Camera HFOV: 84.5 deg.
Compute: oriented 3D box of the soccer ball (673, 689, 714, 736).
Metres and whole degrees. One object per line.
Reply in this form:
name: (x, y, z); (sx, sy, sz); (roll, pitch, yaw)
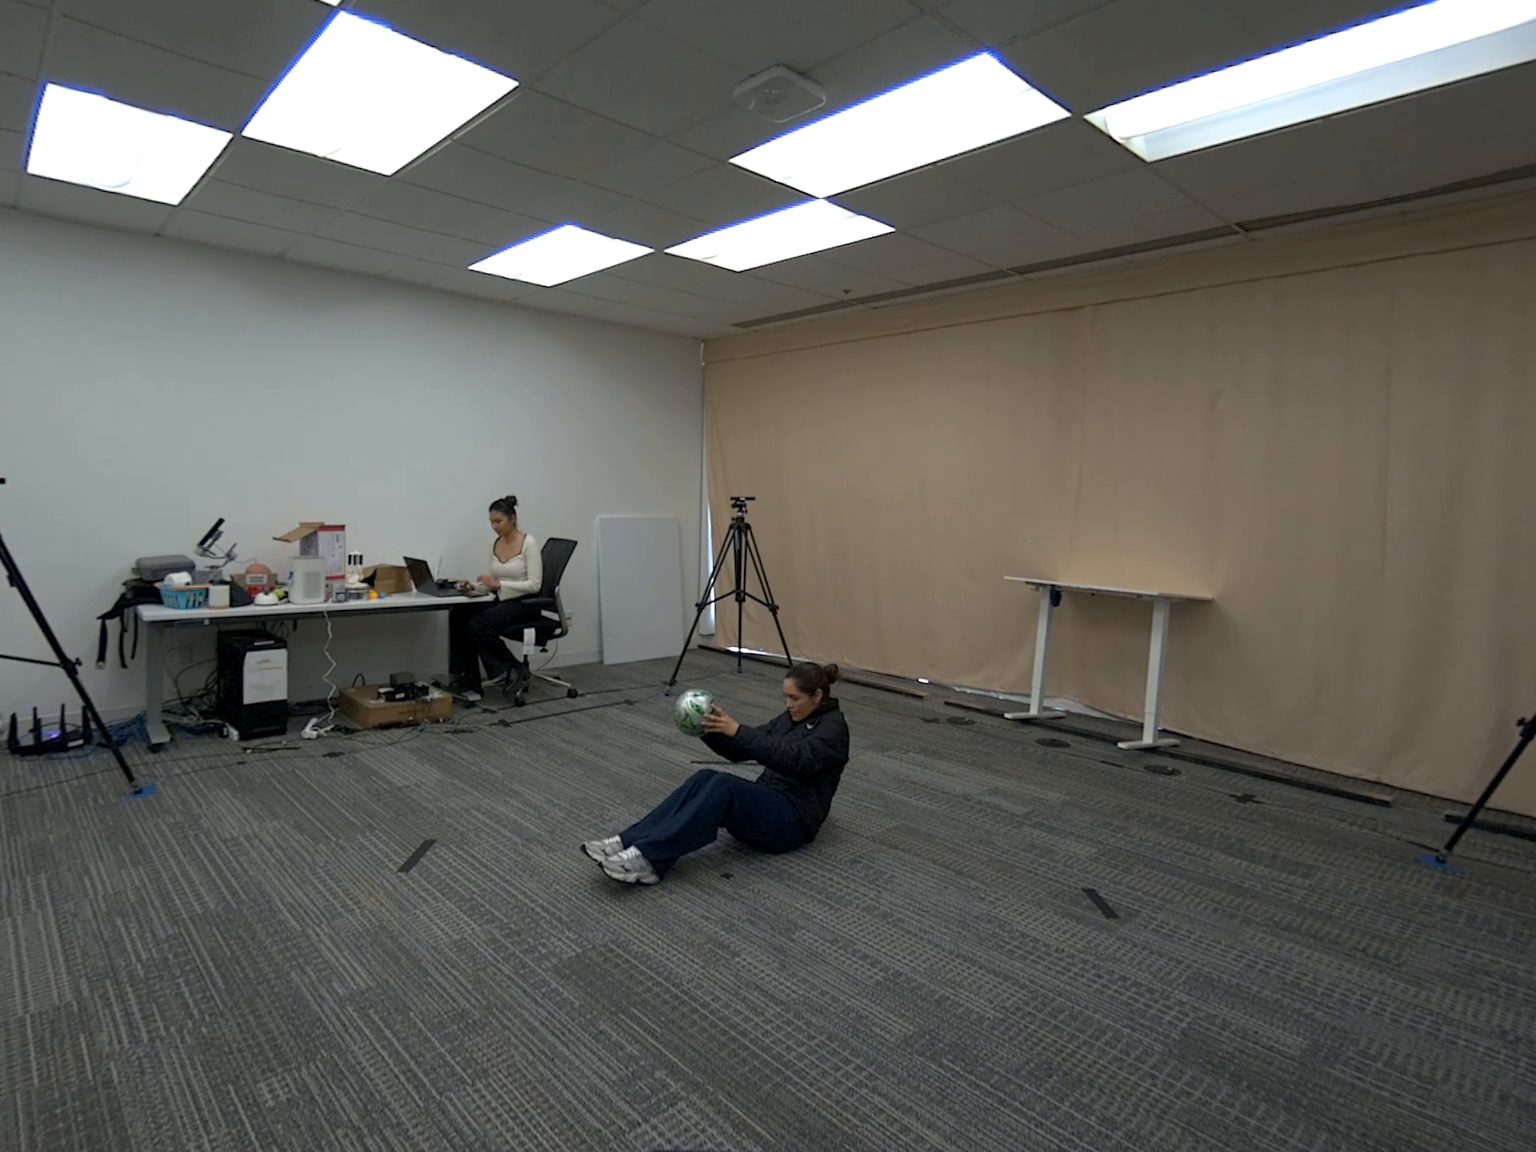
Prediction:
soccer ball: (-0.294, 0.550, 3.372); (0.187, 0.186, 0.188); (0, 7, -1)
